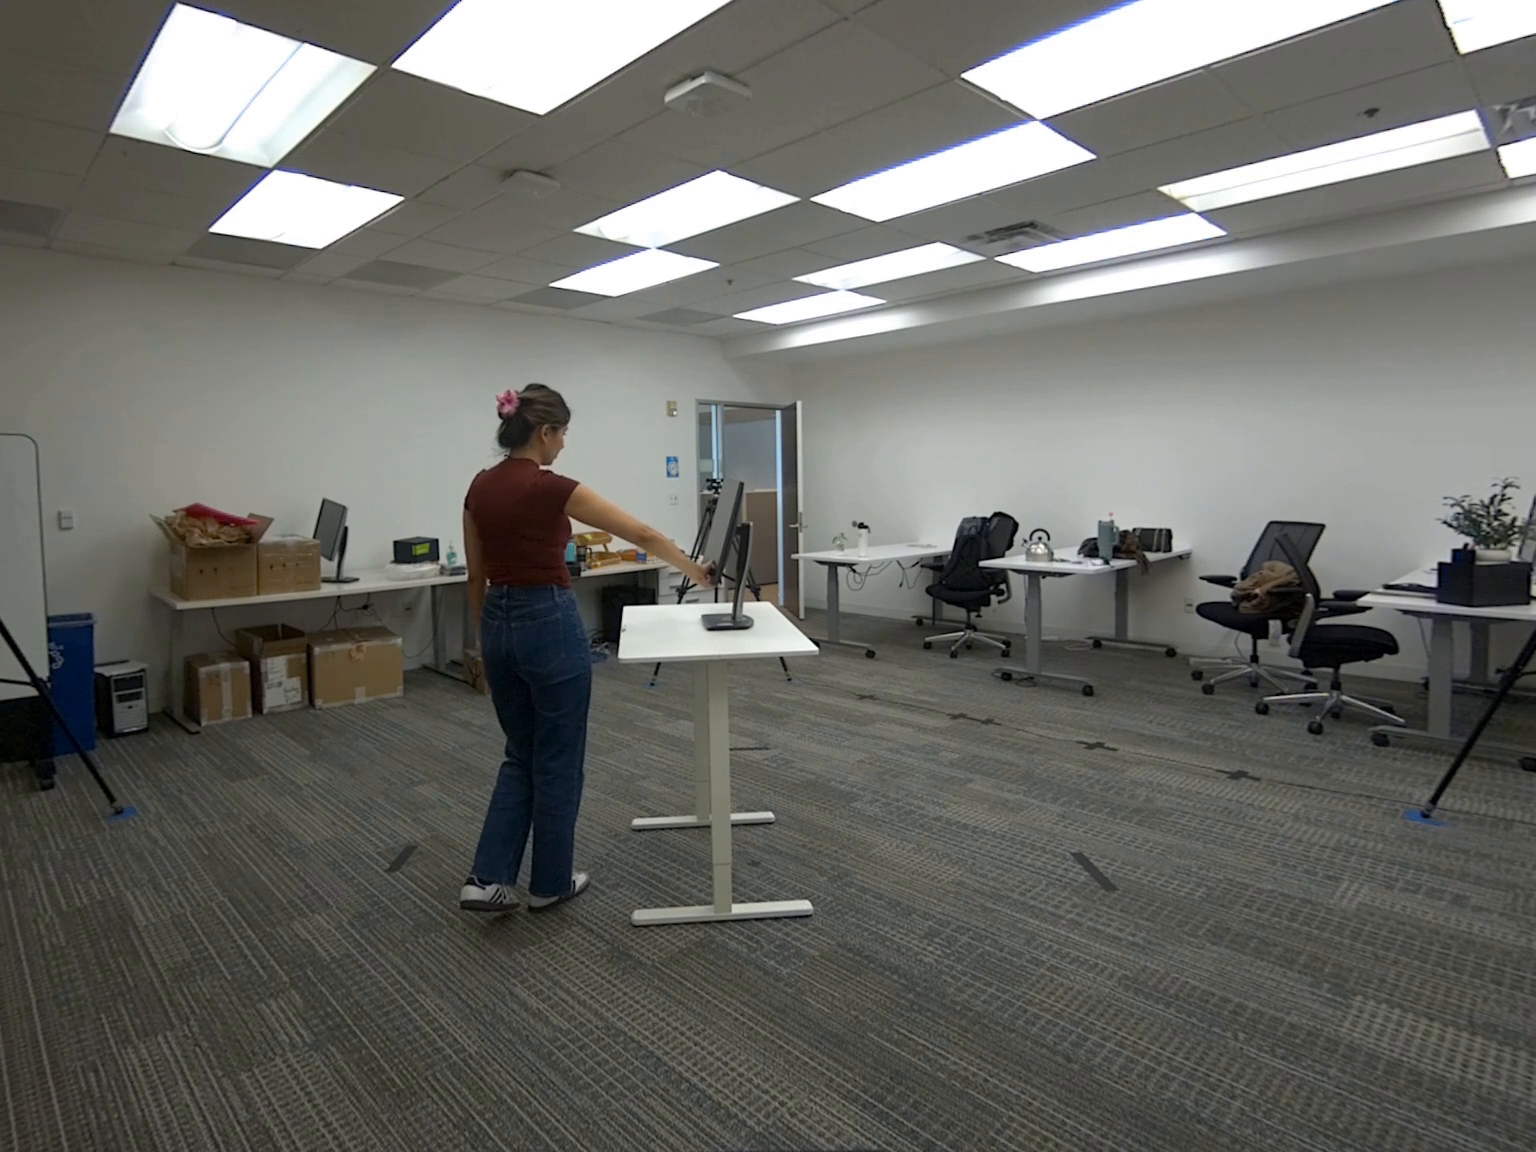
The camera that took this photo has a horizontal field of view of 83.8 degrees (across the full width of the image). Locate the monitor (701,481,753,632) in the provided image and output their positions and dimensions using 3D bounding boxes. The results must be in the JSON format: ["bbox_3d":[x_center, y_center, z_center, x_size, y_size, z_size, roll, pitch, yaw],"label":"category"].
[{"bbox_3d":[-0.135,-0.084,3.046,0.185,0.520,0.546,0,5,-11],"label":"monitor"}]
